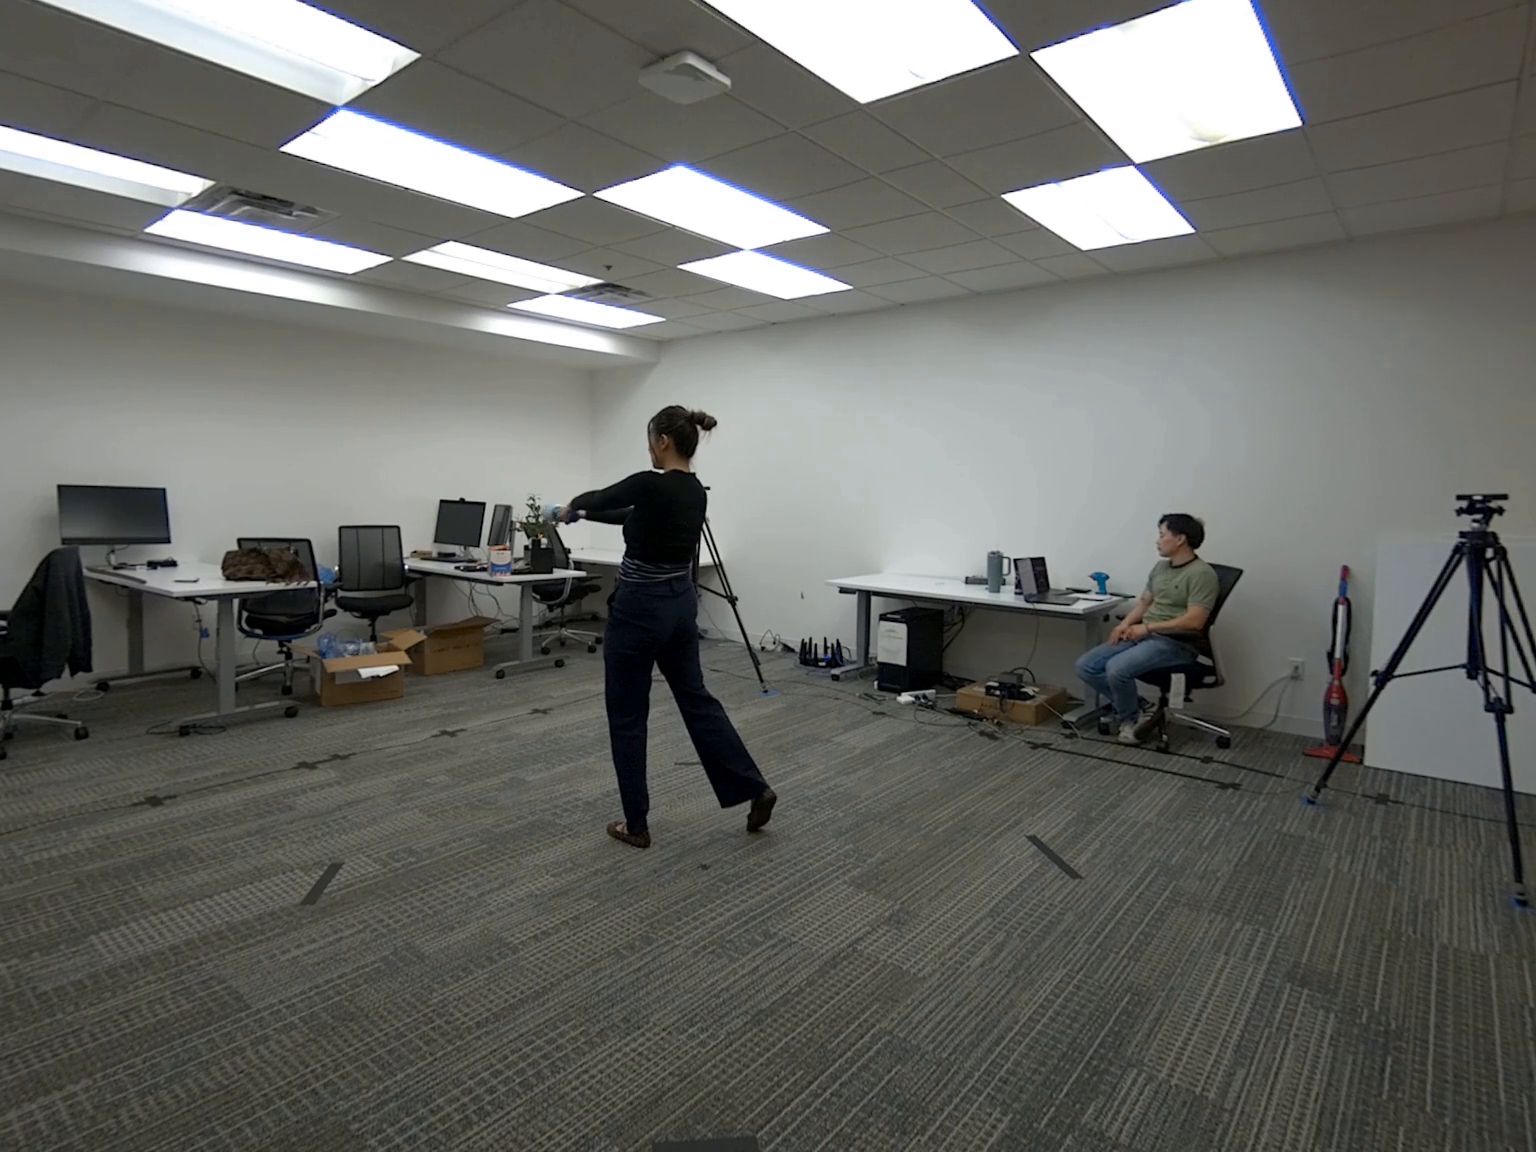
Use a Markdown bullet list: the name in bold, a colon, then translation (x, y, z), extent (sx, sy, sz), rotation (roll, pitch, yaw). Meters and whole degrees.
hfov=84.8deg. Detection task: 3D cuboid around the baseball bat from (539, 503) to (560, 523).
- **baseball bat**: translation (-0.893, -0.270, 3.734), extent (0.087, 0.089, 0.557), rotation (-1, 6, -24)
